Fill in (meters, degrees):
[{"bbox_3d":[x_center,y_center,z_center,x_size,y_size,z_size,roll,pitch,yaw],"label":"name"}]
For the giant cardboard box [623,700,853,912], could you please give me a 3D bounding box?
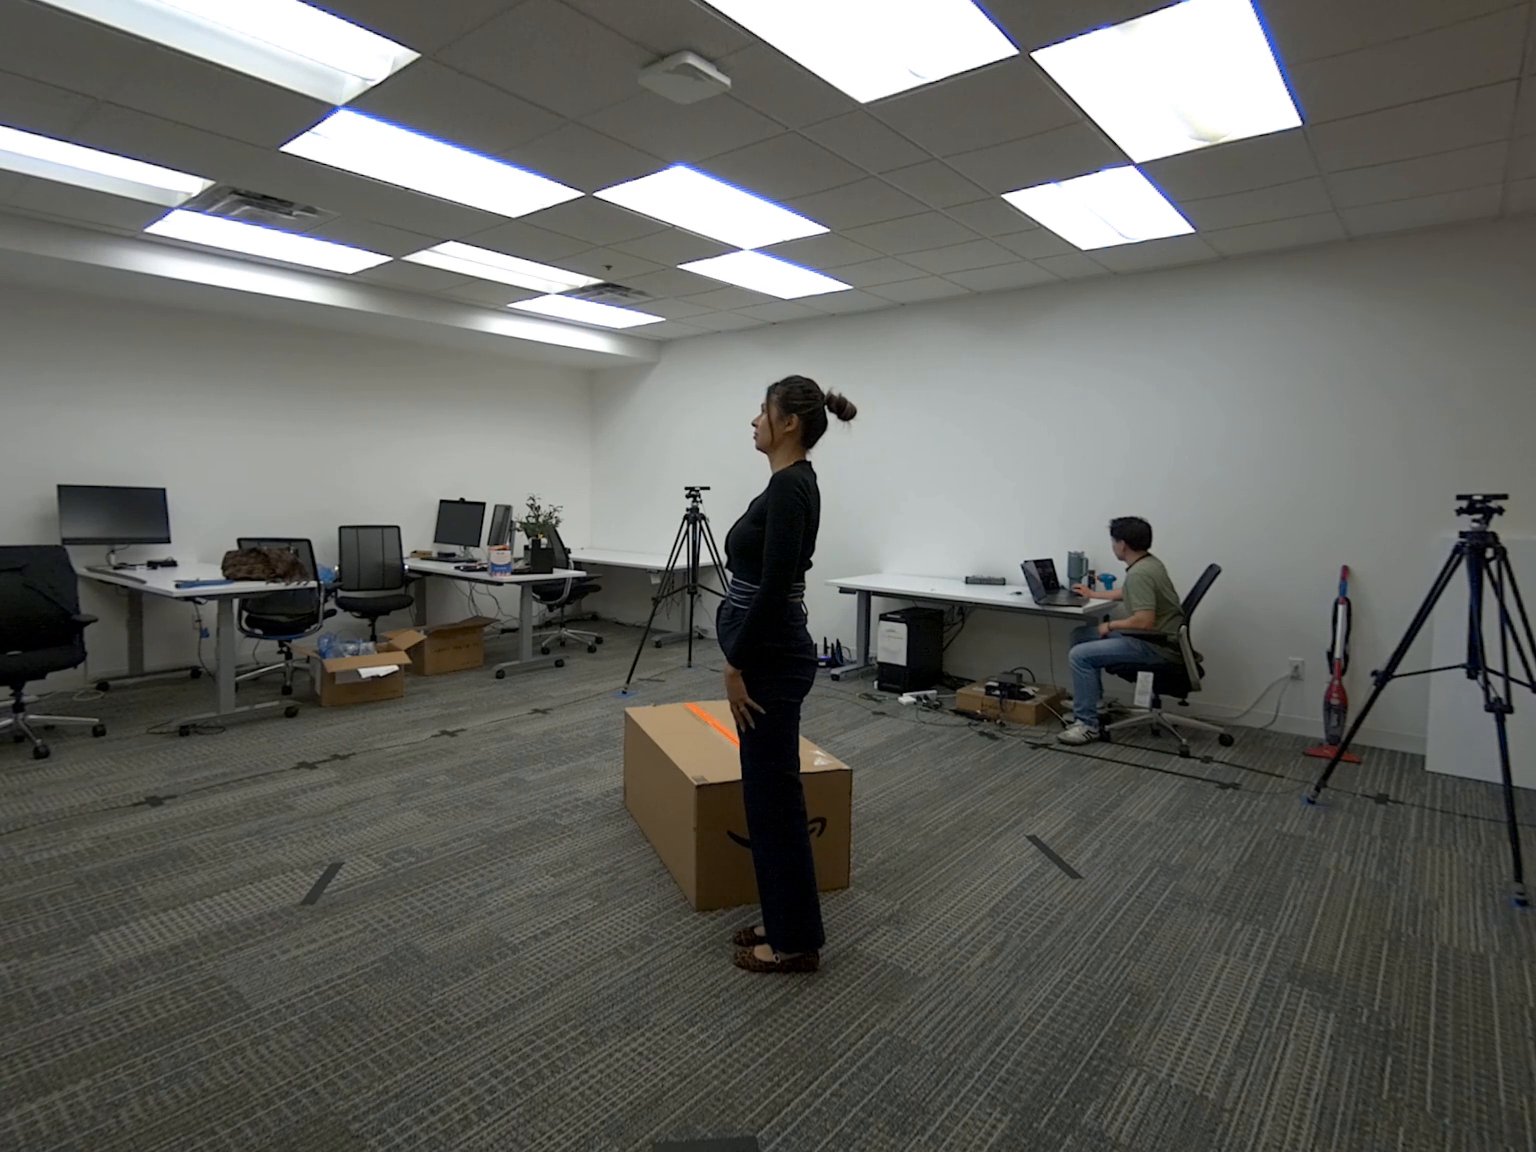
[{"bbox_3d":[-0.182,0.824,3.338,0.565,0.425,1.052,0,5,-22],"label":"giant cardboard box"}]
